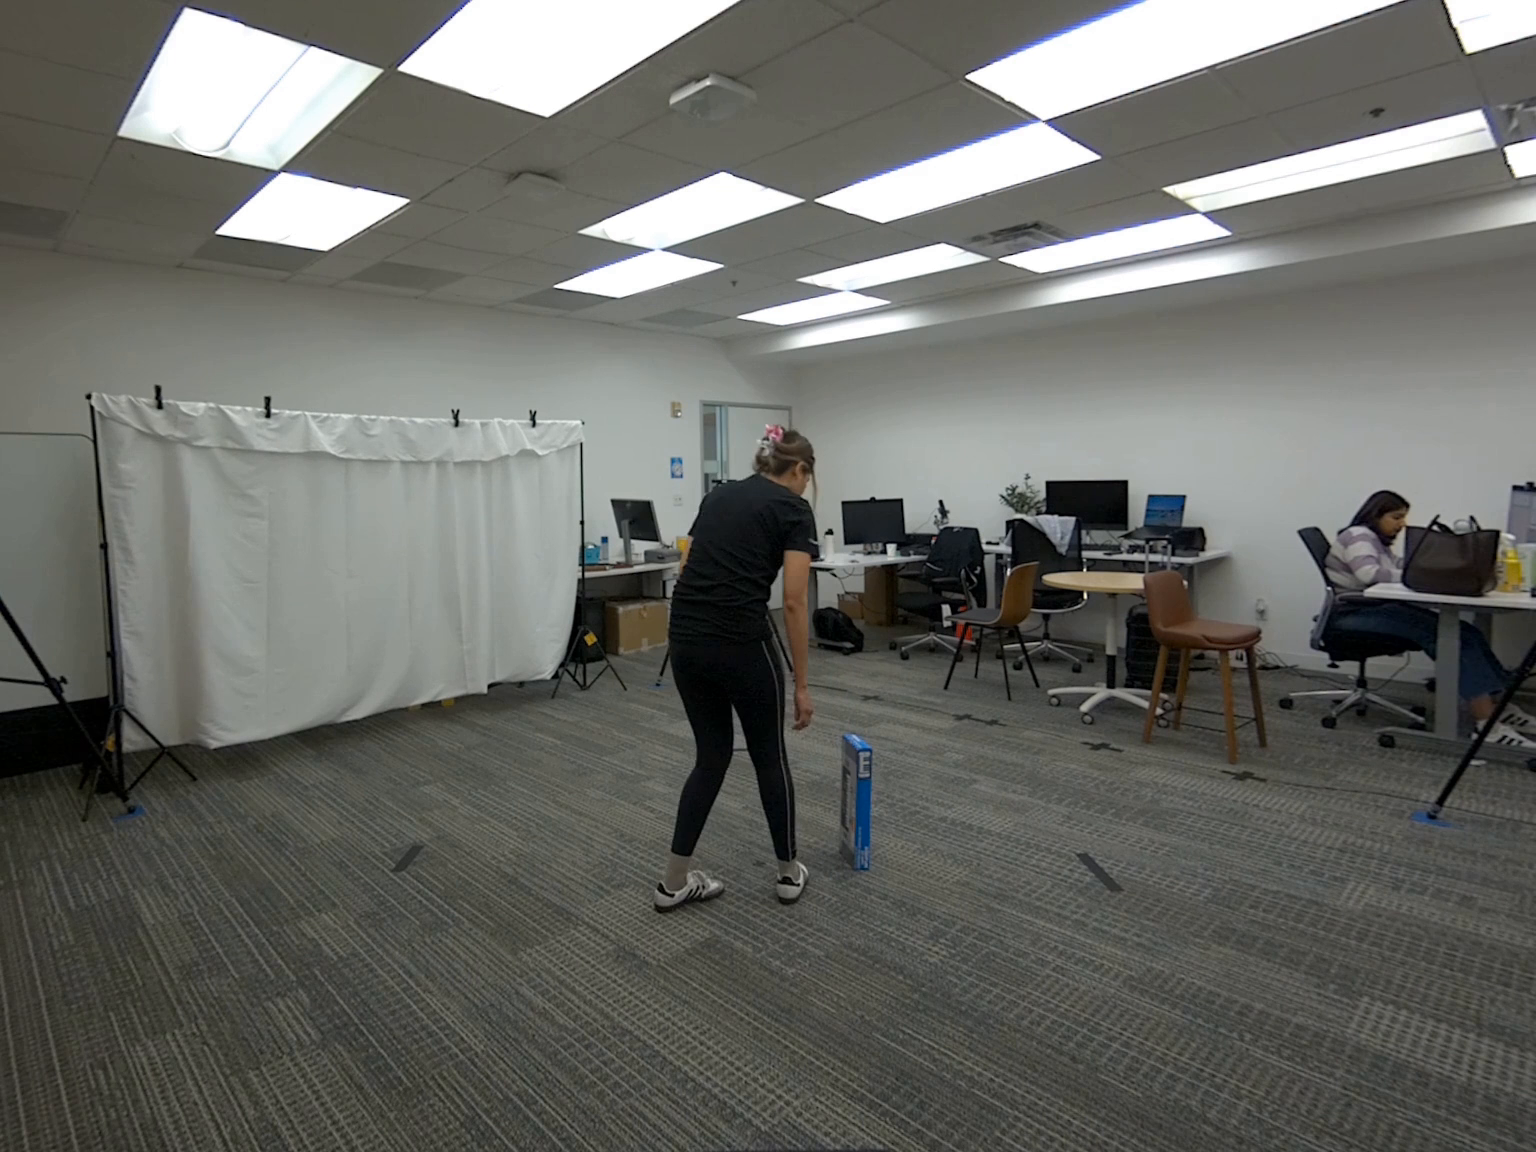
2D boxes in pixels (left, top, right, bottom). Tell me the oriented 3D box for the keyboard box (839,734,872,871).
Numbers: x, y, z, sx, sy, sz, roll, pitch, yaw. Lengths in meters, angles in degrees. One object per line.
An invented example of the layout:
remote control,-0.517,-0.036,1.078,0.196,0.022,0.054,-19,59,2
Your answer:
keyboard box,0.321,0.822,3.115,0.058,0.436,0.178,1,3,-11
